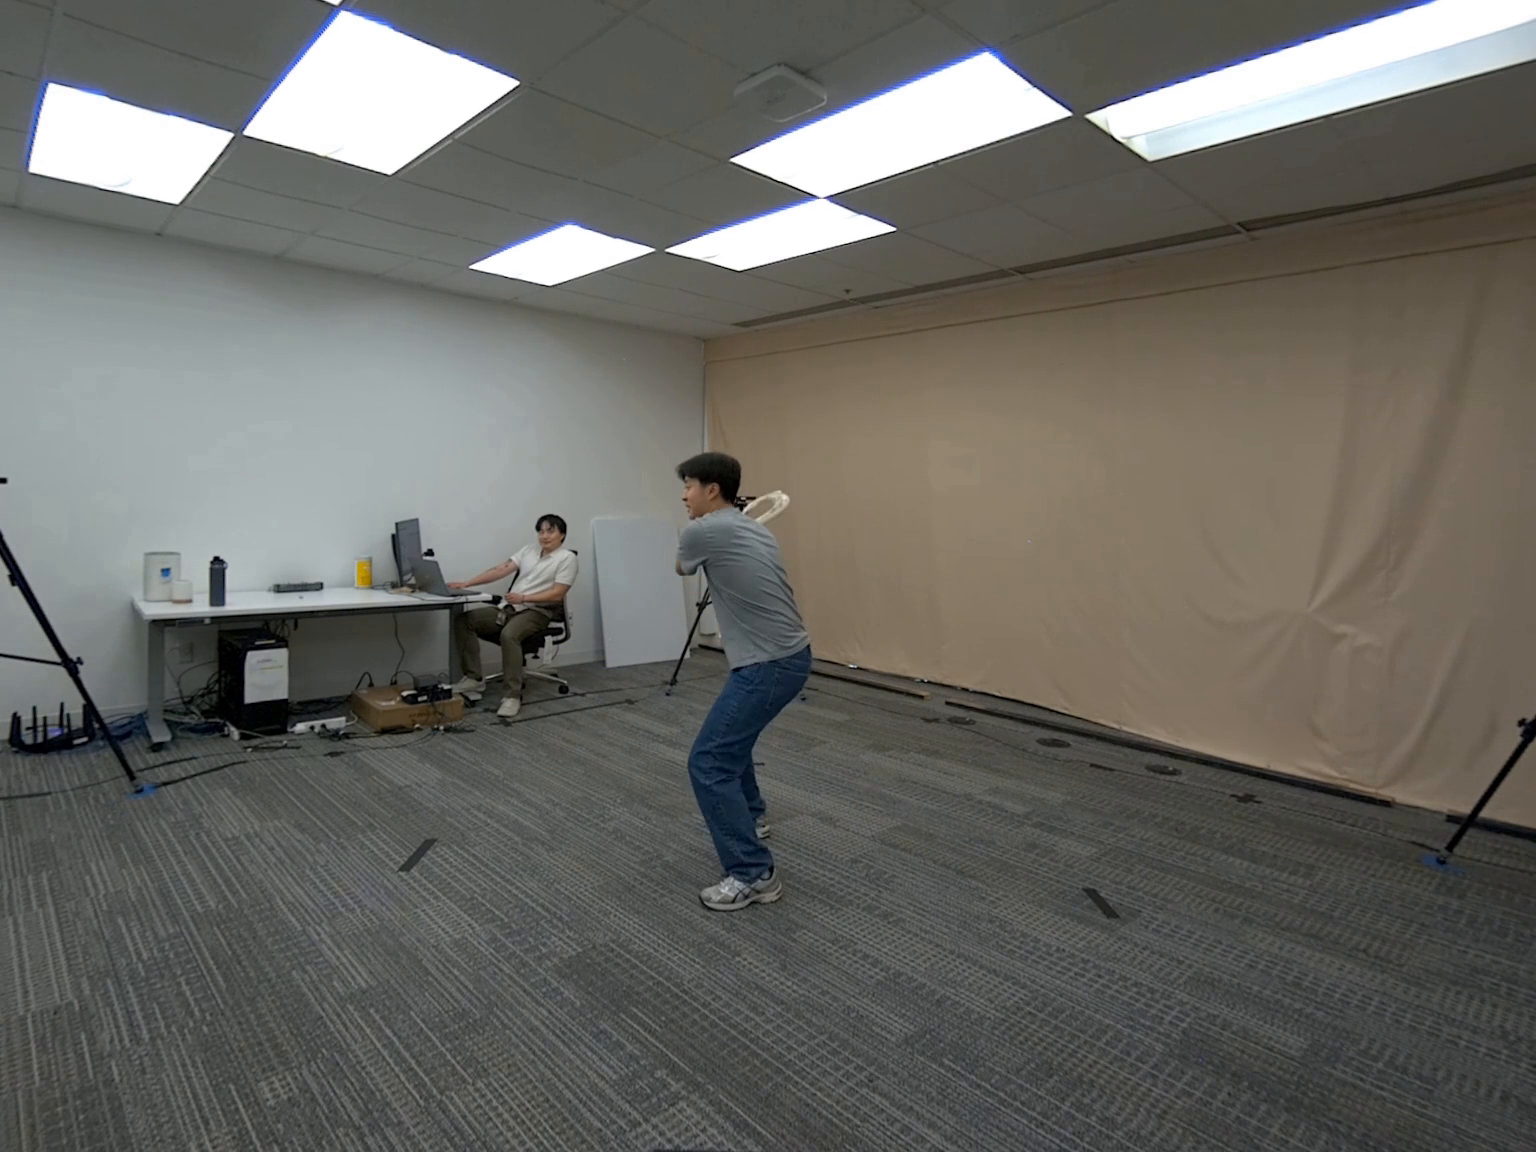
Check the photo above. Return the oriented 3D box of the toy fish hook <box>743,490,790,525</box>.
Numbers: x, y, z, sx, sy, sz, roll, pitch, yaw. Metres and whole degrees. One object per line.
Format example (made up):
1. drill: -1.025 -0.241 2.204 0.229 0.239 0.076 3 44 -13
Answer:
1. toy fish hook: -0.164 -0.184 3.730 0.505 0.047 0.230 -37 27 -9
